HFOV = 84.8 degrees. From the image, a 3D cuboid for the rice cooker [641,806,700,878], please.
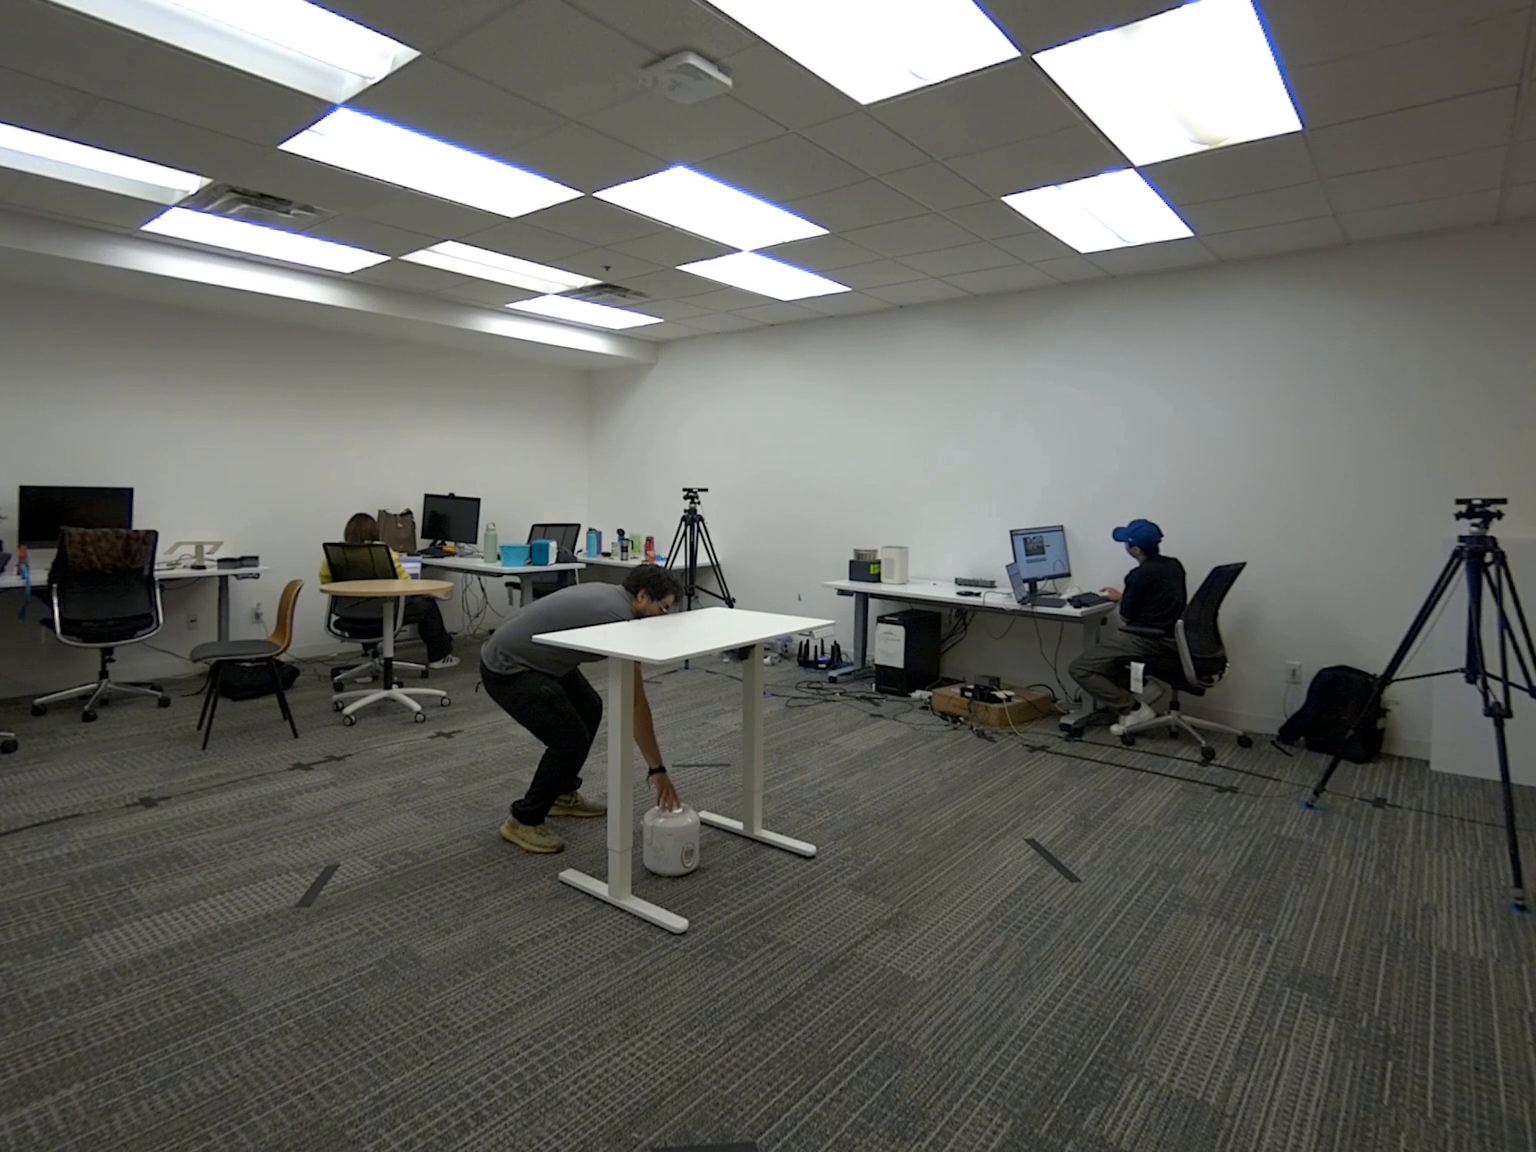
[{"bbox_3d":[-0.361,0.951,3.116,0.214,0.232,0.224,-2,3,-40],"label":"rice cooker"}]
